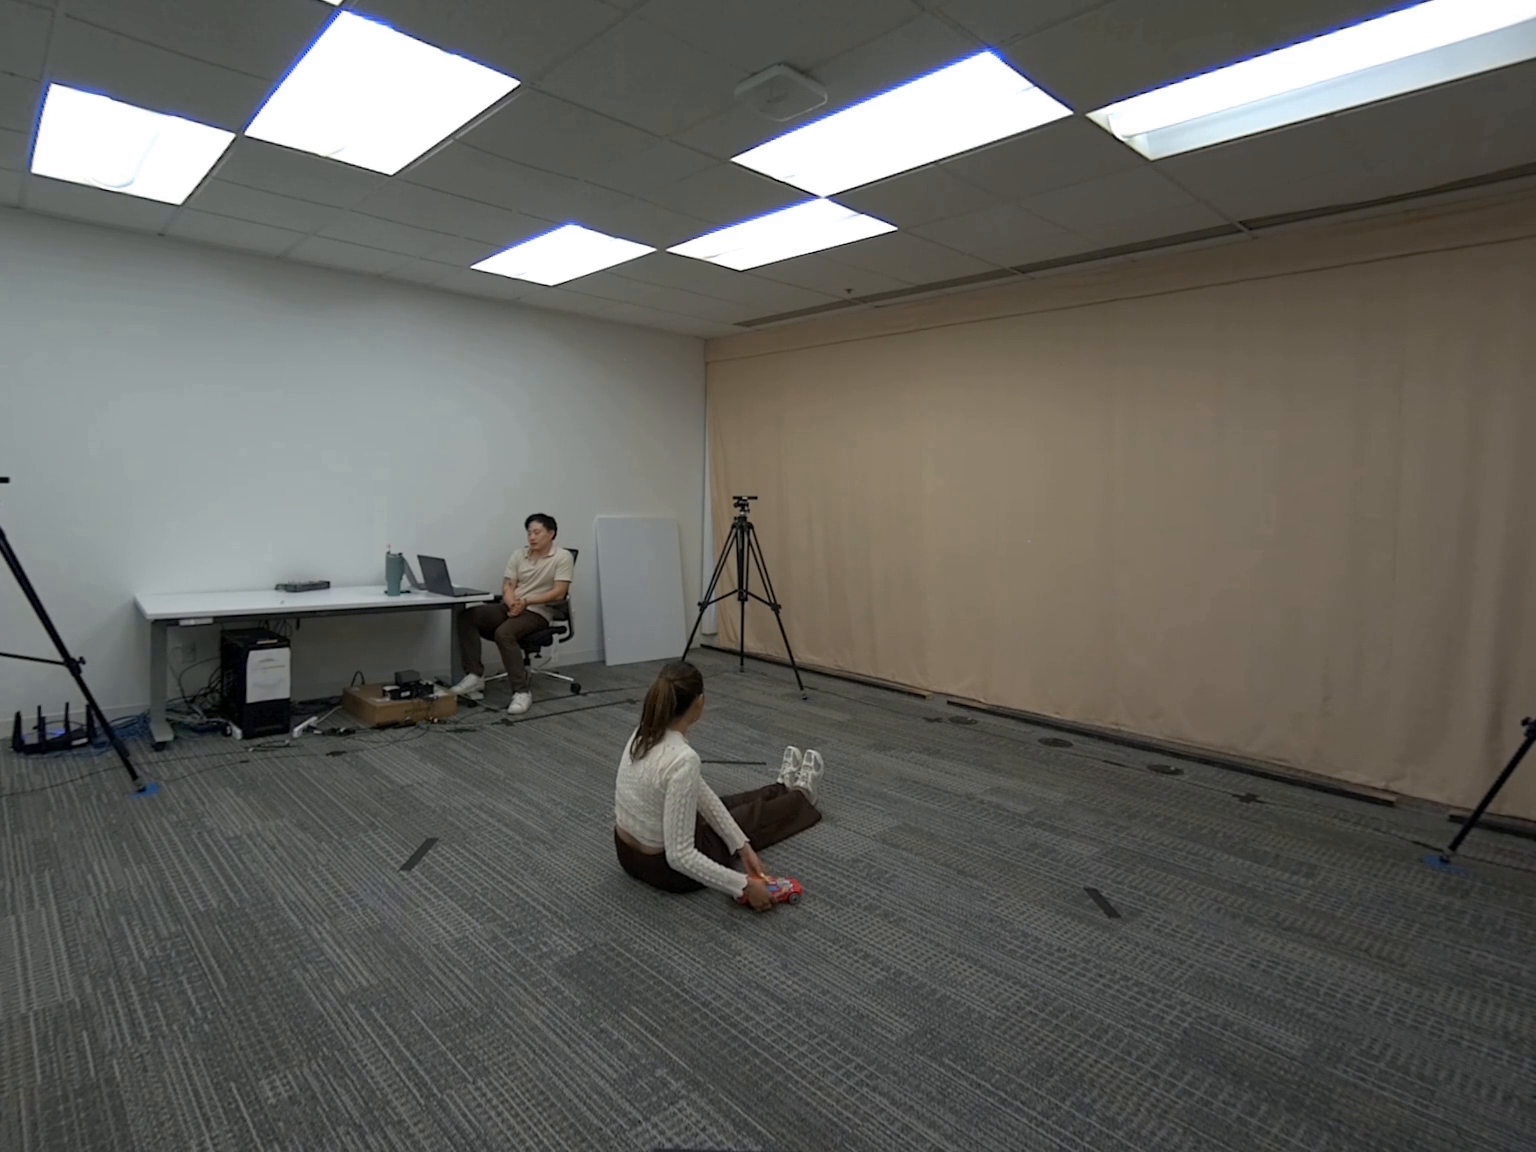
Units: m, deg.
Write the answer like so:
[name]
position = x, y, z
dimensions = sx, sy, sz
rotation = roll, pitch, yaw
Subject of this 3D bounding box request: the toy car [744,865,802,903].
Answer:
[toy car]
position = -0.018, 1.092, 2.905
dimensions = 0.251, 0.083, 0.132
rotation = 7, 1, -17
